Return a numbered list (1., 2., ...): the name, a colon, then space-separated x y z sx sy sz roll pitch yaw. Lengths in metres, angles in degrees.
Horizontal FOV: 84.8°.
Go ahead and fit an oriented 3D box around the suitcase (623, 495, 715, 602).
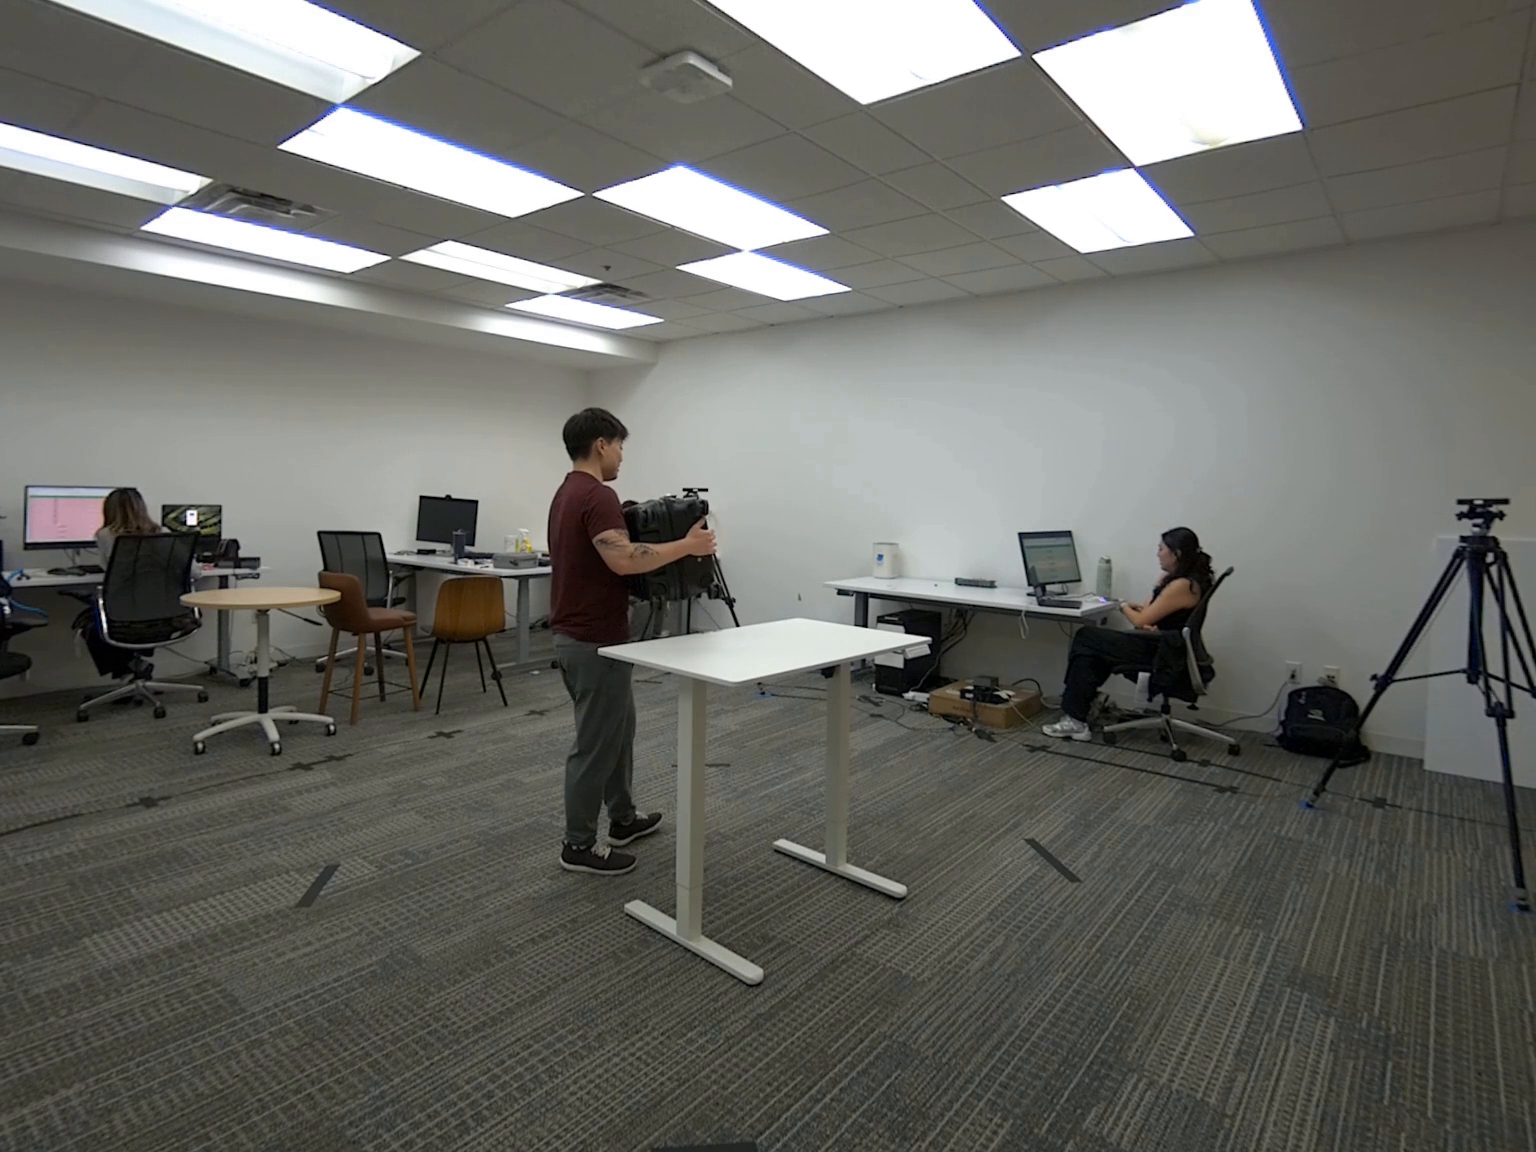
1. suitcase: -0.456 -0.106 3.318 0.253 0.382 0.999 -11 7 -19
